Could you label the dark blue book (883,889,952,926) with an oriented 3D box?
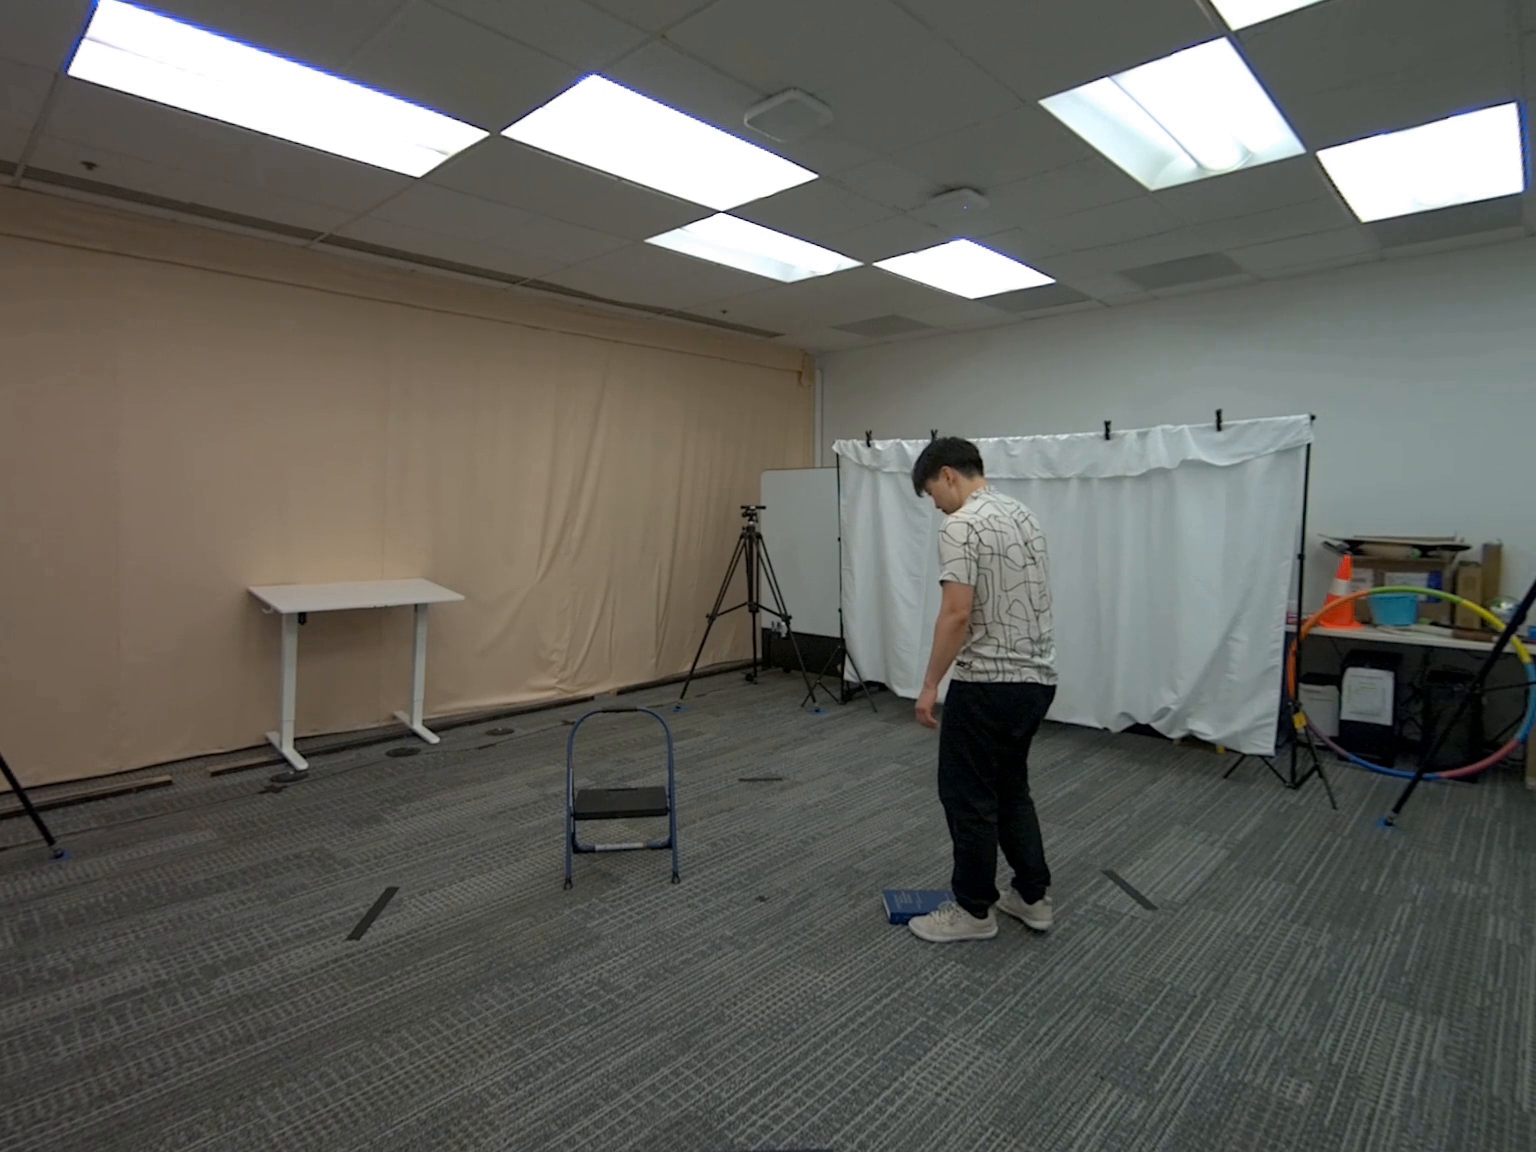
[{"bbox_3d":[0.525,1.129,2.867,0.245,0.045,0.163,0,4,1],"label":"dark blue book"}]
